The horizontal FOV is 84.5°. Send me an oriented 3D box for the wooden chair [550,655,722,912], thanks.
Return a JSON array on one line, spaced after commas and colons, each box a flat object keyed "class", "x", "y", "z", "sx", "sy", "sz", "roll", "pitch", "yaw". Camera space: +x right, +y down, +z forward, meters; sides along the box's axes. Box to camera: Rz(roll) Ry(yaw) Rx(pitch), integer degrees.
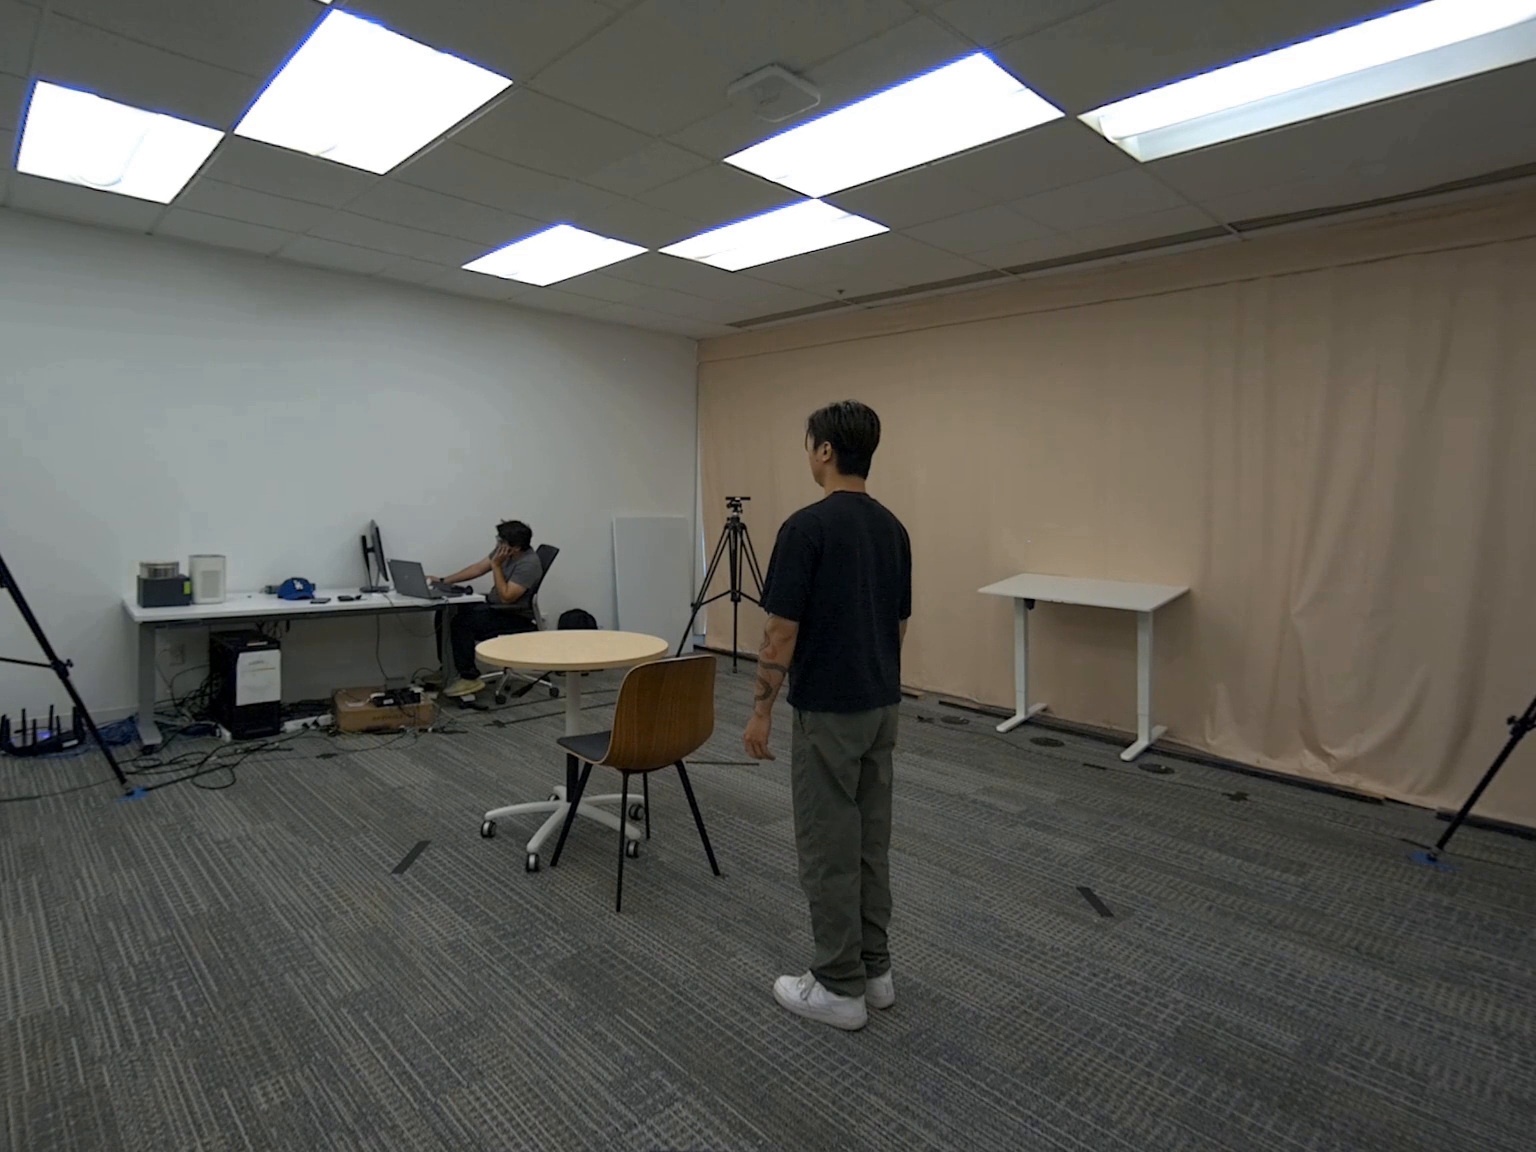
[{"class": "wooden chair", "x": -0.491, "y": 0.675, "z": 3.097, "sx": 0.467, "sy": 0.873, "sz": 0.537, "roll": -2, "pitch": 9, "yaw": -42}]
